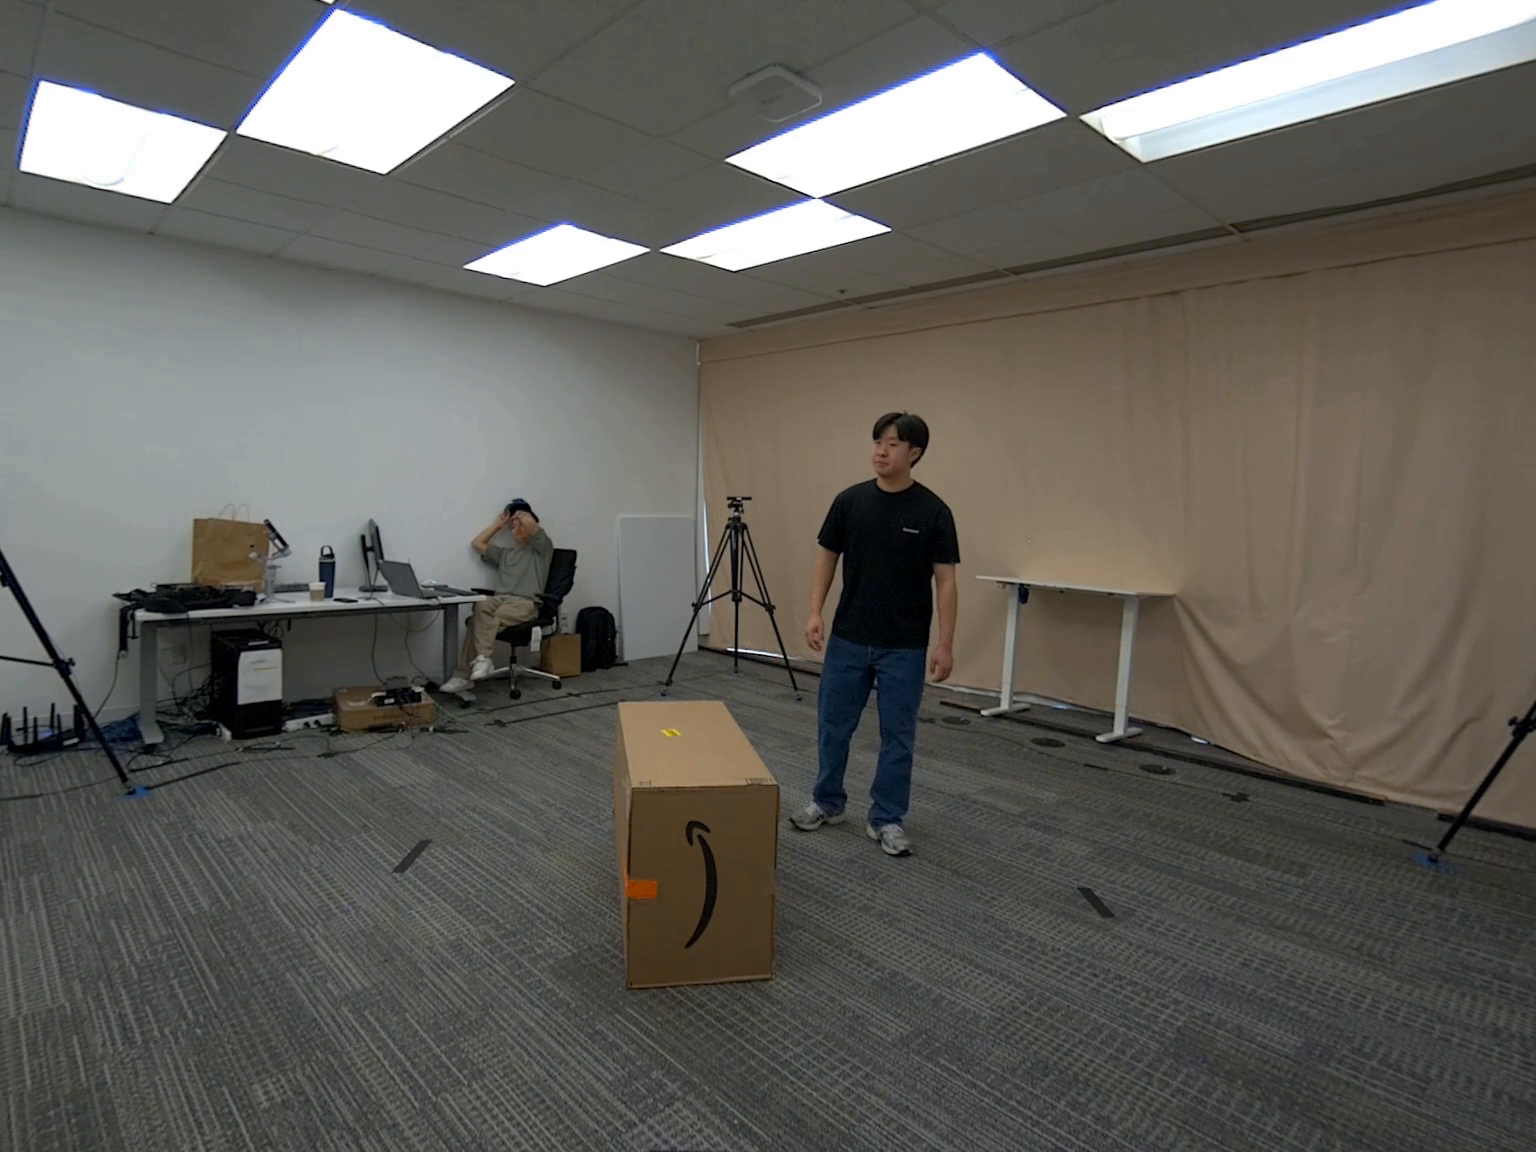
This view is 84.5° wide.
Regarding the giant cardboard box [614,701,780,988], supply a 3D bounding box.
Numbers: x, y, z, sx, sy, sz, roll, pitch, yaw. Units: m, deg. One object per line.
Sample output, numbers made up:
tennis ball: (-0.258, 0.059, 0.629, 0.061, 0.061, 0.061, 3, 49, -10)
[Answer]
giant cardboard box: (-0.296, 0.835, 2.889, 0.443, 0.582, 1.039, 0, 4, -12)
